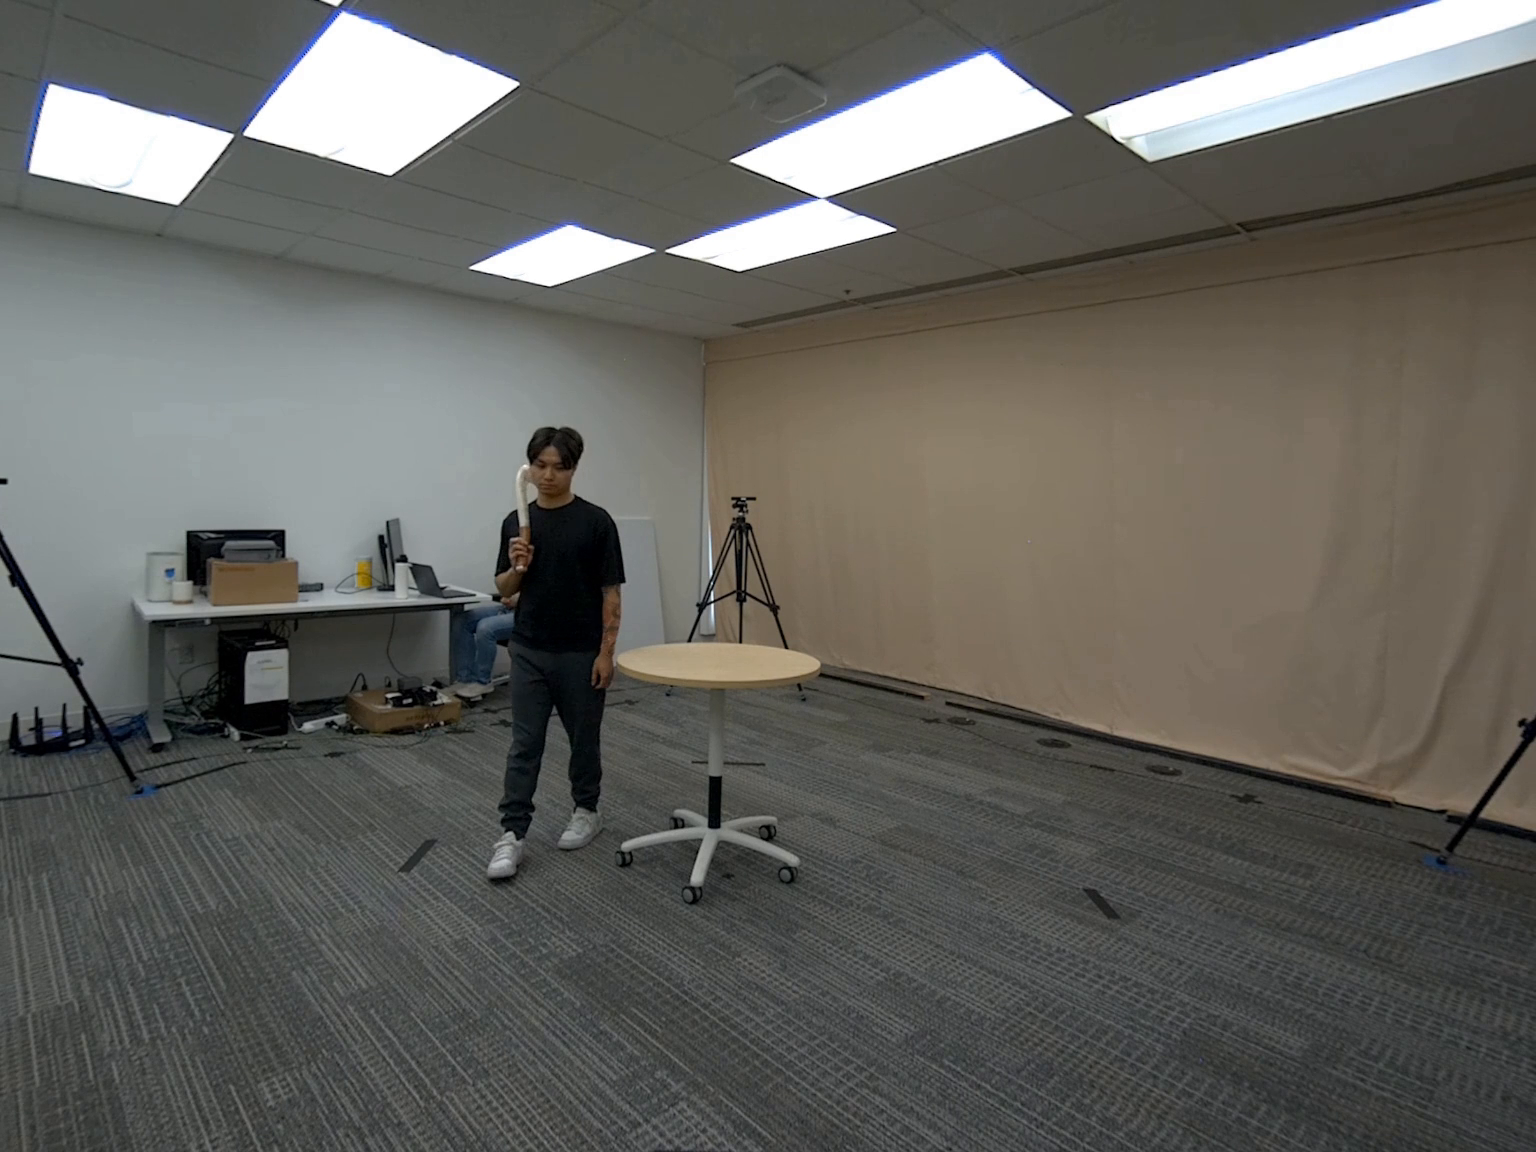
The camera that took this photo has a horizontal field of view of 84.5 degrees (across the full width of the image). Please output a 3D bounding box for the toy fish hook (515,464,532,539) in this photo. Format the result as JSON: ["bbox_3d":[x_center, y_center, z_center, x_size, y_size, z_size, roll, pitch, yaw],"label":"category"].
[{"bbox_3d":[-0.911,-0.206,3.250,0.049,0.518,0.217,-18,-34,19],"label":"toy fish hook"}]
